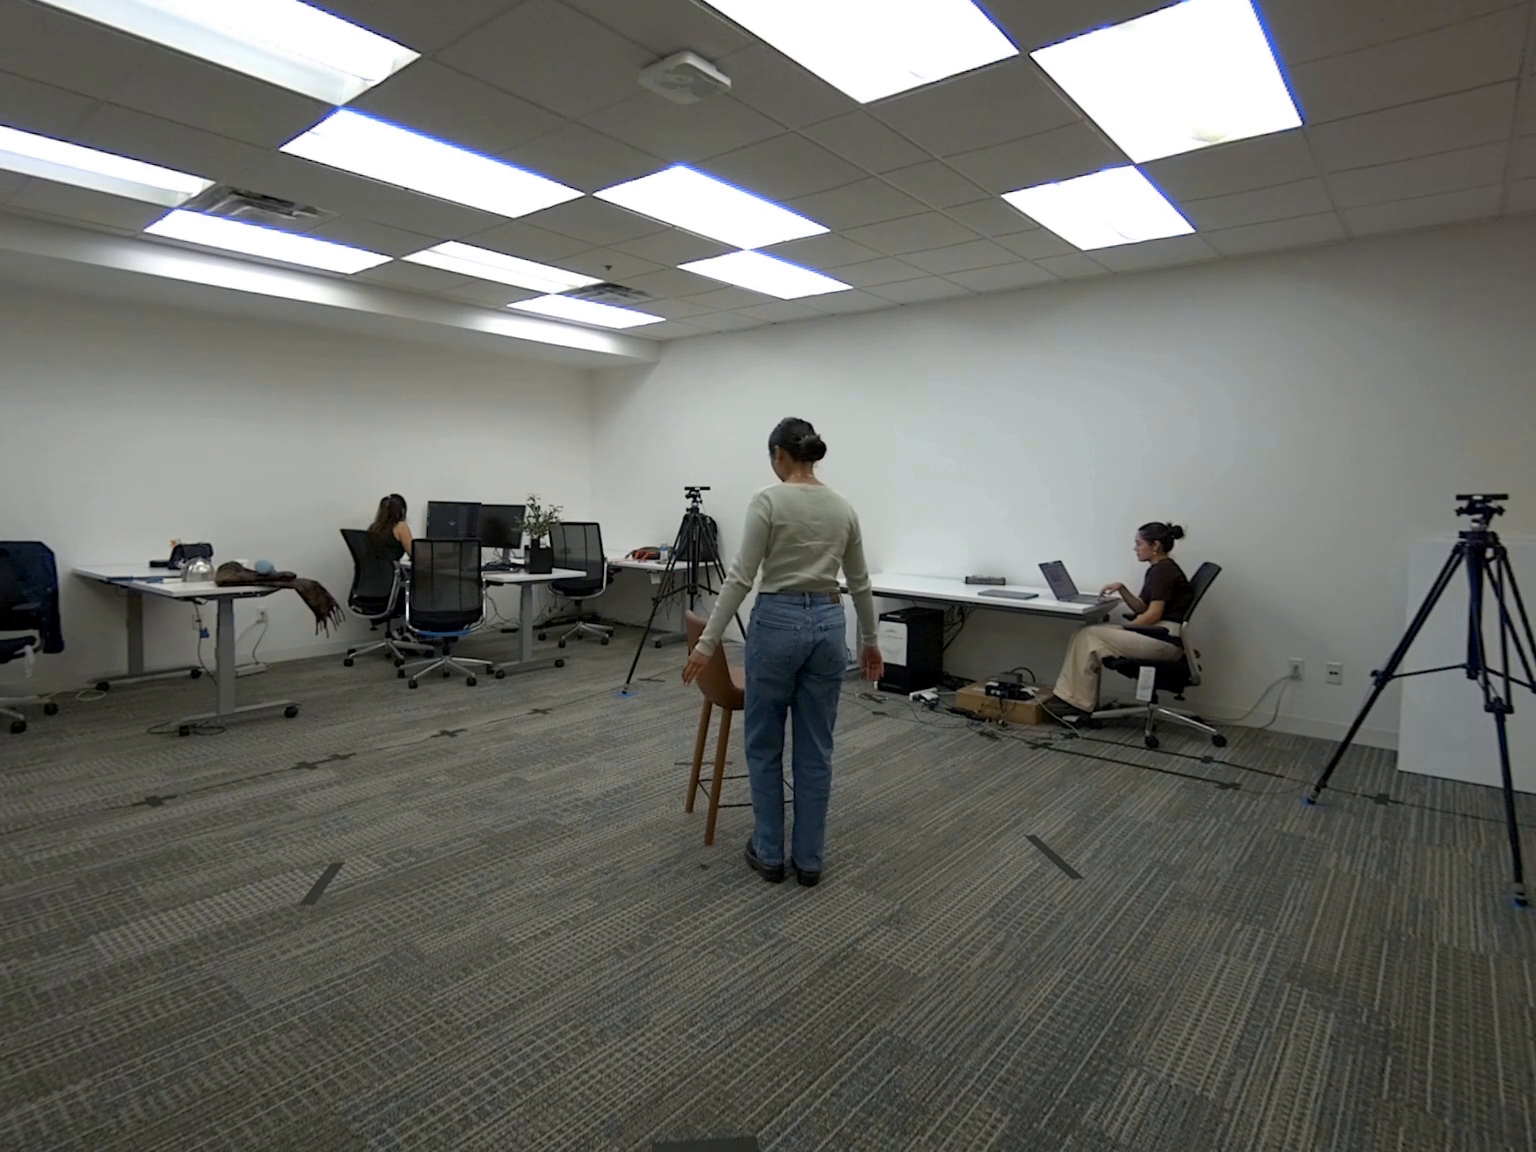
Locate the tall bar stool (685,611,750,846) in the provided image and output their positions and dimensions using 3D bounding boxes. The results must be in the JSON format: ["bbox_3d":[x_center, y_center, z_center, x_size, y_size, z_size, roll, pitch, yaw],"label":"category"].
[{"bbox_3d":[-0.093,0.593,3.519,0.460,0.887,0.466,-2,4,-17],"label":"tall bar stool"}]
